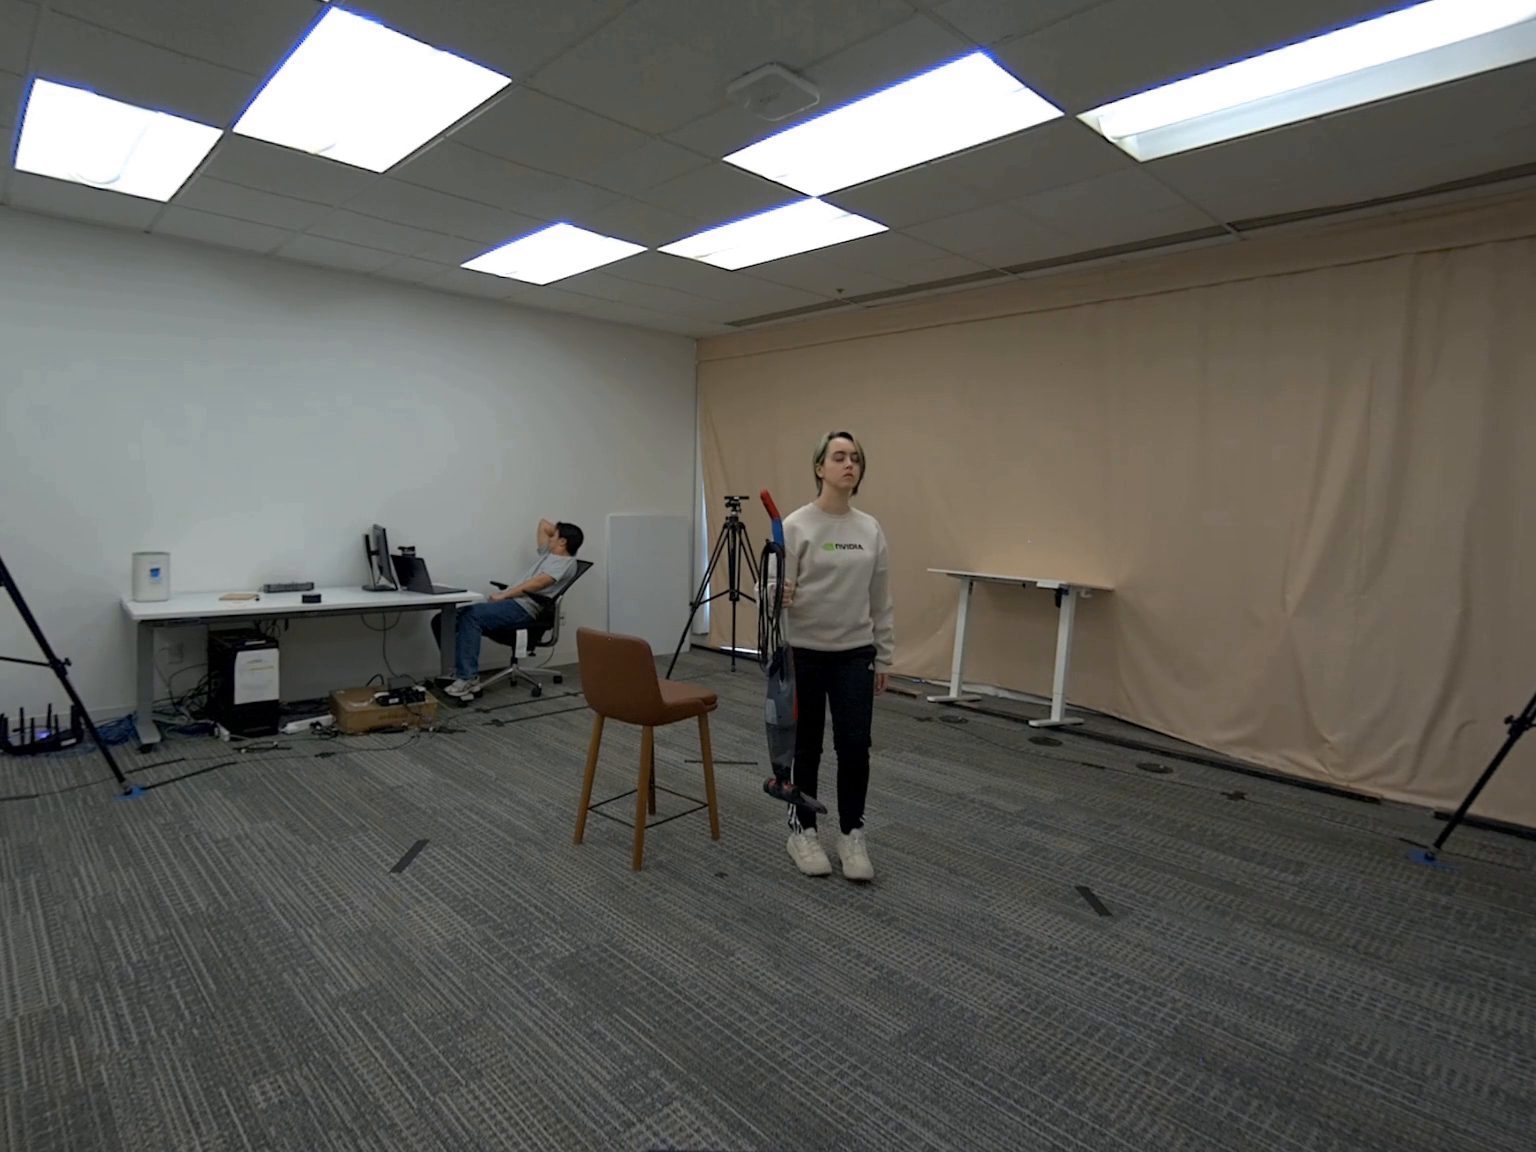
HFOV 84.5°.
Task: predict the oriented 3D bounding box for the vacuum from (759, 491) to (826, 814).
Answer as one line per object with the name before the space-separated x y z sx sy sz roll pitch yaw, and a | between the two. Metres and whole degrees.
vacuum | 0.022 0.245 2.831 0.141 1.042 0.259 -12 11 -41
